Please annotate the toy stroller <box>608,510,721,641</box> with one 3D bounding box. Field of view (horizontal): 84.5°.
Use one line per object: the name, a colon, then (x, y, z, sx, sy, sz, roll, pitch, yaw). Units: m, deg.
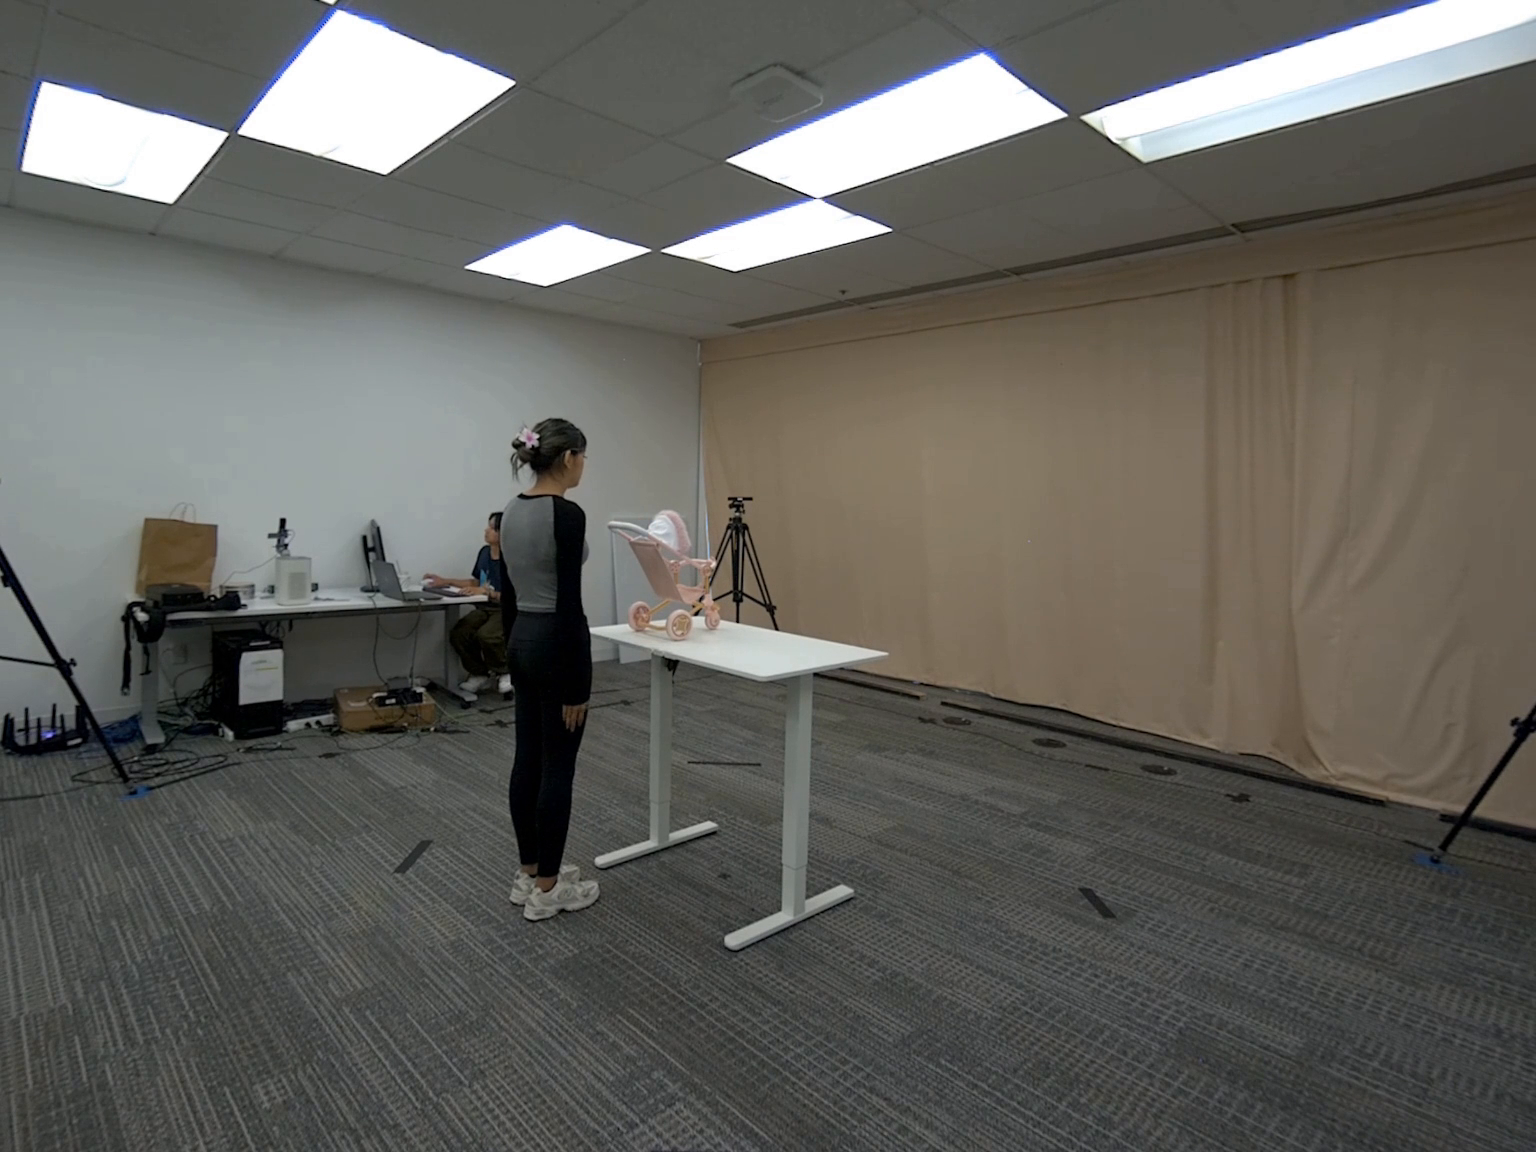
toy stroller: (-0.357, -0.004, 3.110, 0.337, 0.528, 0.288, -23, 18, -35)
